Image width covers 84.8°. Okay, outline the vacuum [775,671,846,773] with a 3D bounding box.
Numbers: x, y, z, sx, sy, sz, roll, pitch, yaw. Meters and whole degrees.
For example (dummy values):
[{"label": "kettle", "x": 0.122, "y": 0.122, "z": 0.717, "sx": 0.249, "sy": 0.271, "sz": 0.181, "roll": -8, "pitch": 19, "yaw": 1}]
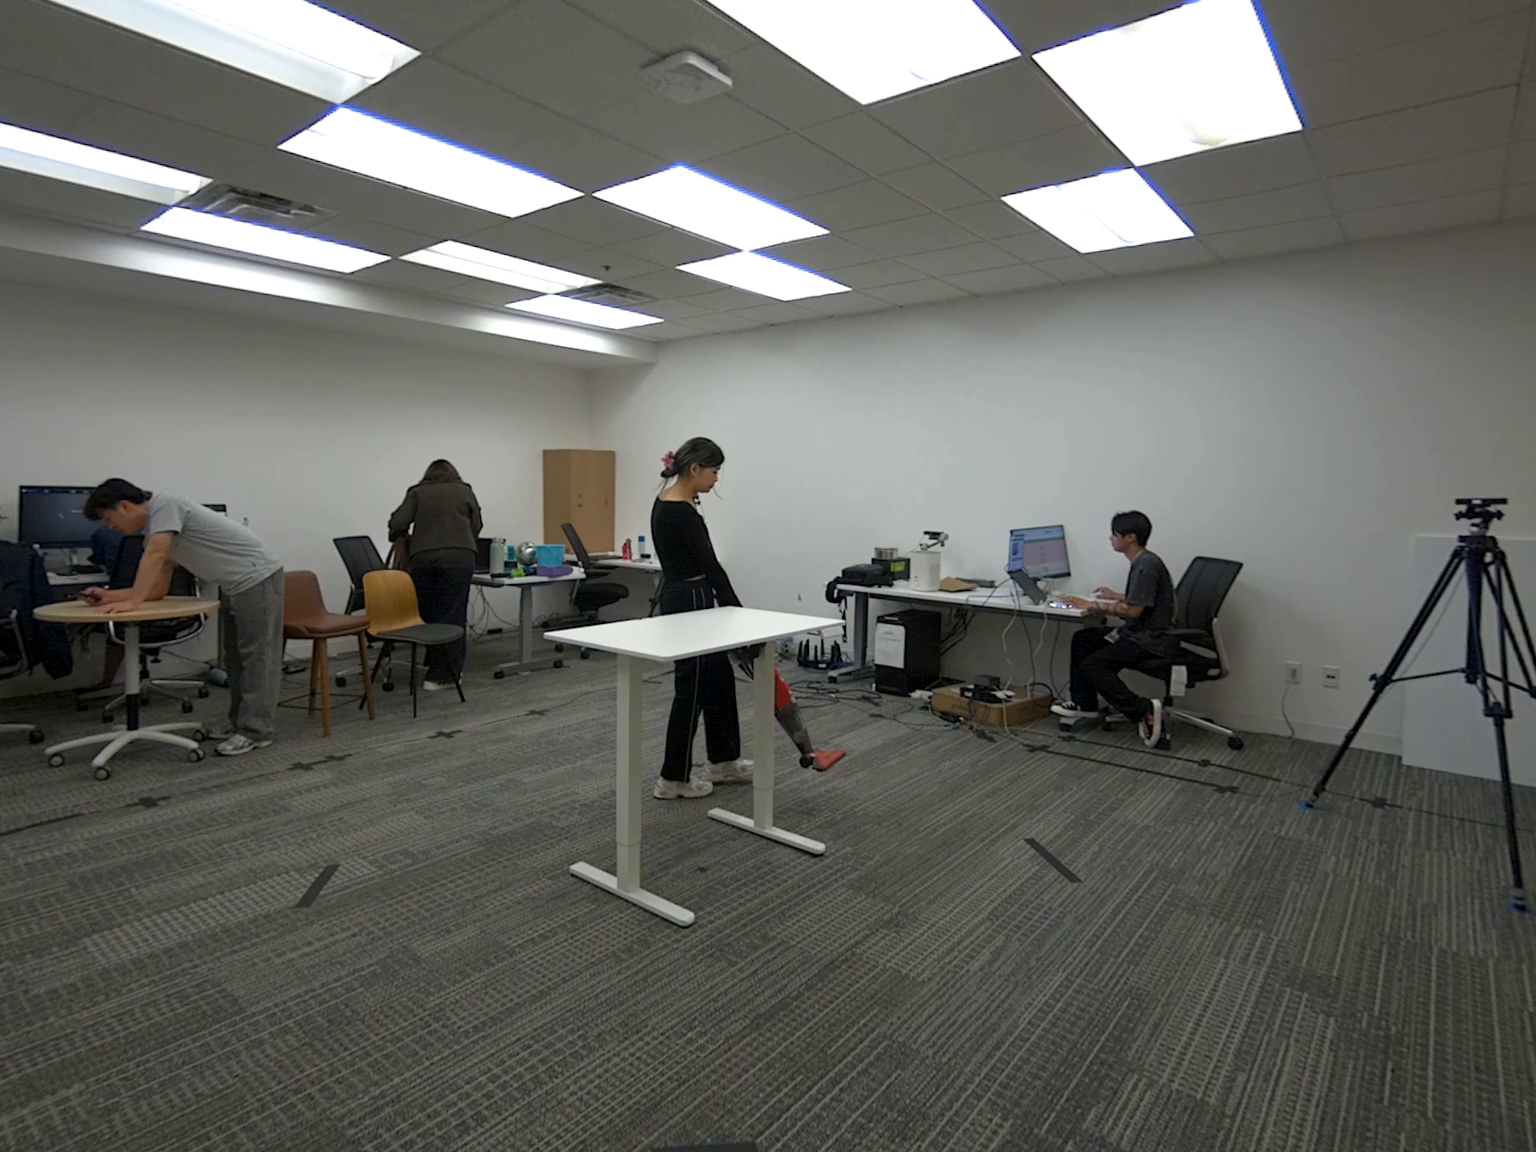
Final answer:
[{"label": "vacuum", "x": -0.036, "y": 0.374, "z": 3.839, "sx": 0.145, "sy": 1.071, "sz": 0.246, "roll": -38, "pitch": -16, "yaw": 27}]
